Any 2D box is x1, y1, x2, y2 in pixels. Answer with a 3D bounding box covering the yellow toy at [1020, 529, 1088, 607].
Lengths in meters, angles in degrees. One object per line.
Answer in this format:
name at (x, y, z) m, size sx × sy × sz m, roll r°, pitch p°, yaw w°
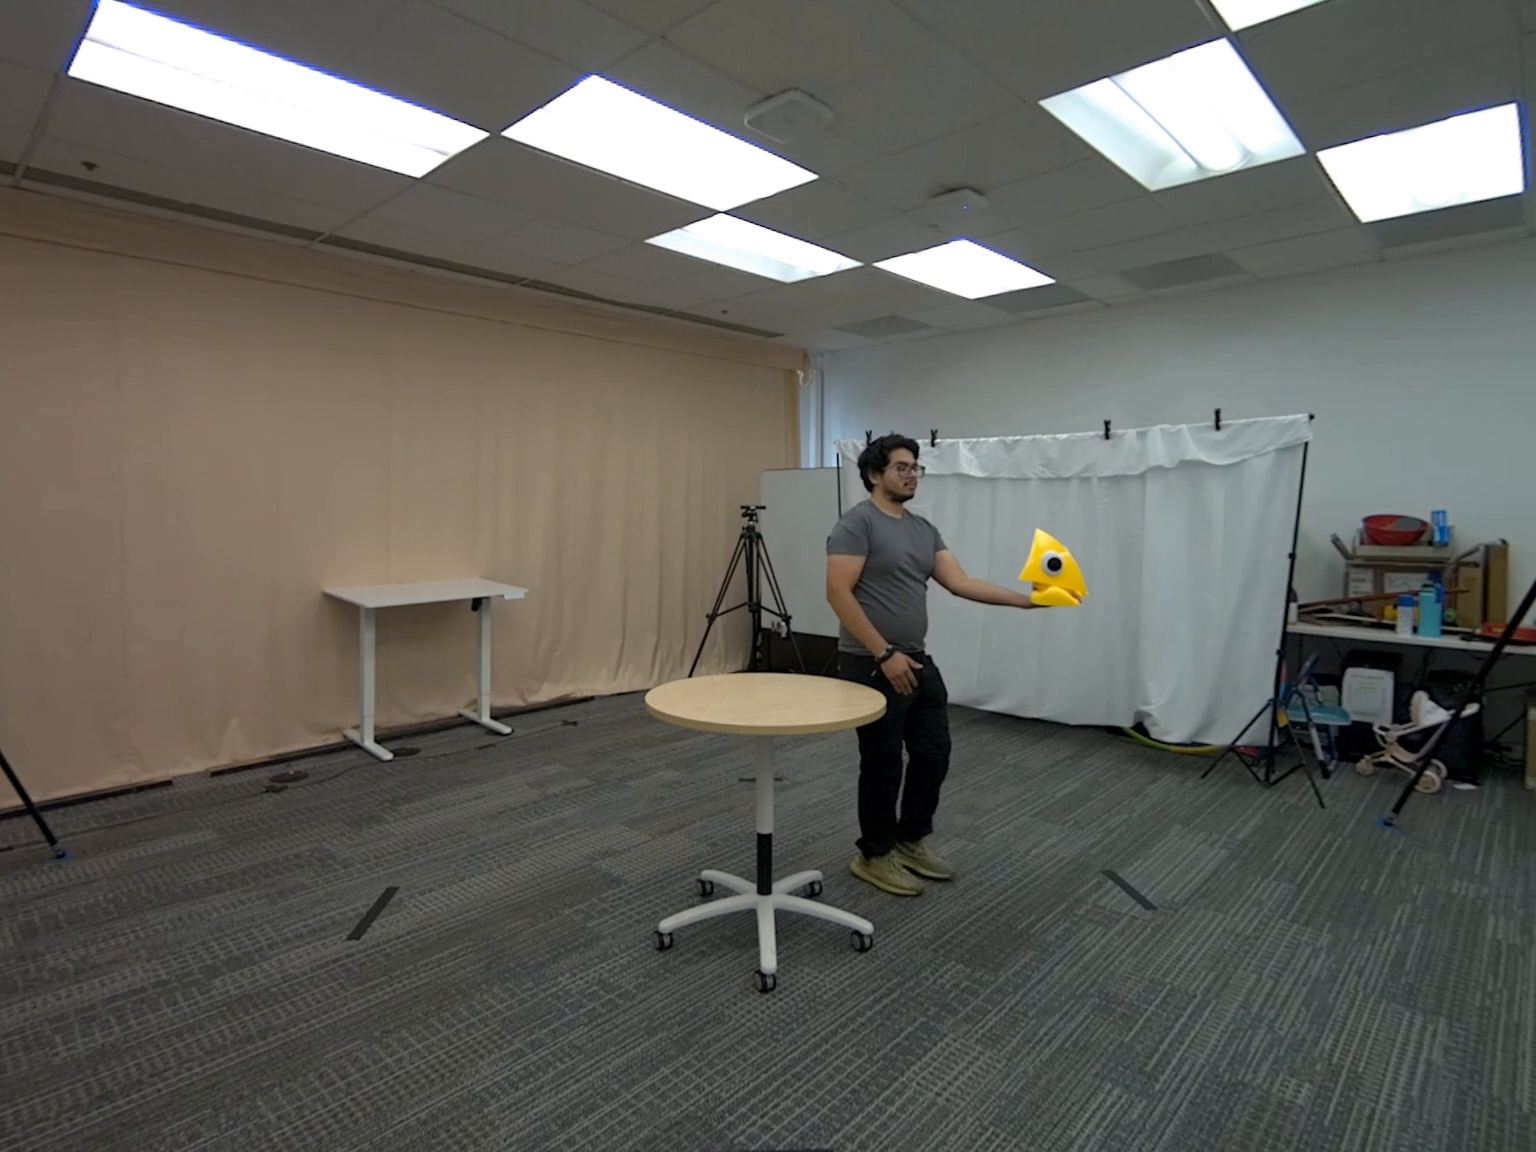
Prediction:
yellow toy at (0.953, -0.038, 2.762) m, size 0.199 × 0.229 × 0.200 m, roll 4°, pitch 14°, yaw 35°
